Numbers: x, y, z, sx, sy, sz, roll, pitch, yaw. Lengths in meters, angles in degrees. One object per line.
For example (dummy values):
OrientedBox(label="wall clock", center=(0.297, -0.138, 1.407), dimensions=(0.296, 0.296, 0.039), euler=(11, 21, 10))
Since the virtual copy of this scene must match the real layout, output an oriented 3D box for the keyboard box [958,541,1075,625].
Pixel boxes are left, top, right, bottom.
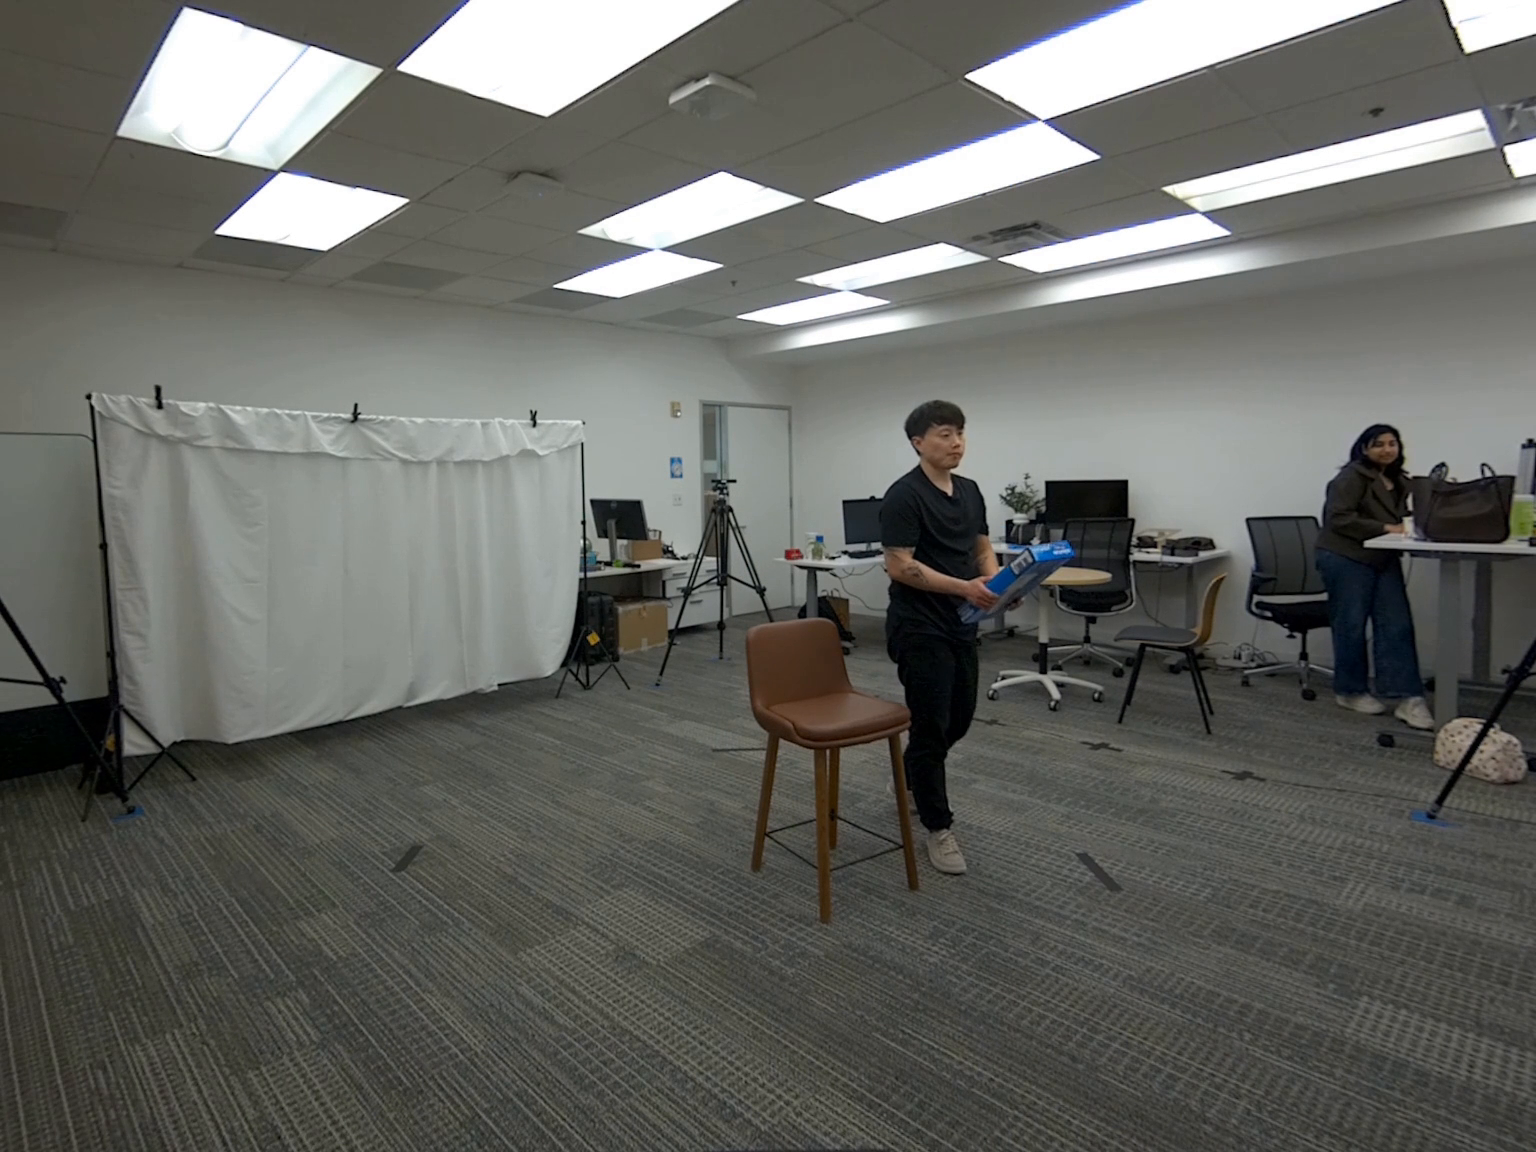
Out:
OrientedBox(label="keyboard box", center=(0.831, 0.034, 2.909), dimensions=(0.173, 0.061, 0.433), euler=(-8, -27, -25))
